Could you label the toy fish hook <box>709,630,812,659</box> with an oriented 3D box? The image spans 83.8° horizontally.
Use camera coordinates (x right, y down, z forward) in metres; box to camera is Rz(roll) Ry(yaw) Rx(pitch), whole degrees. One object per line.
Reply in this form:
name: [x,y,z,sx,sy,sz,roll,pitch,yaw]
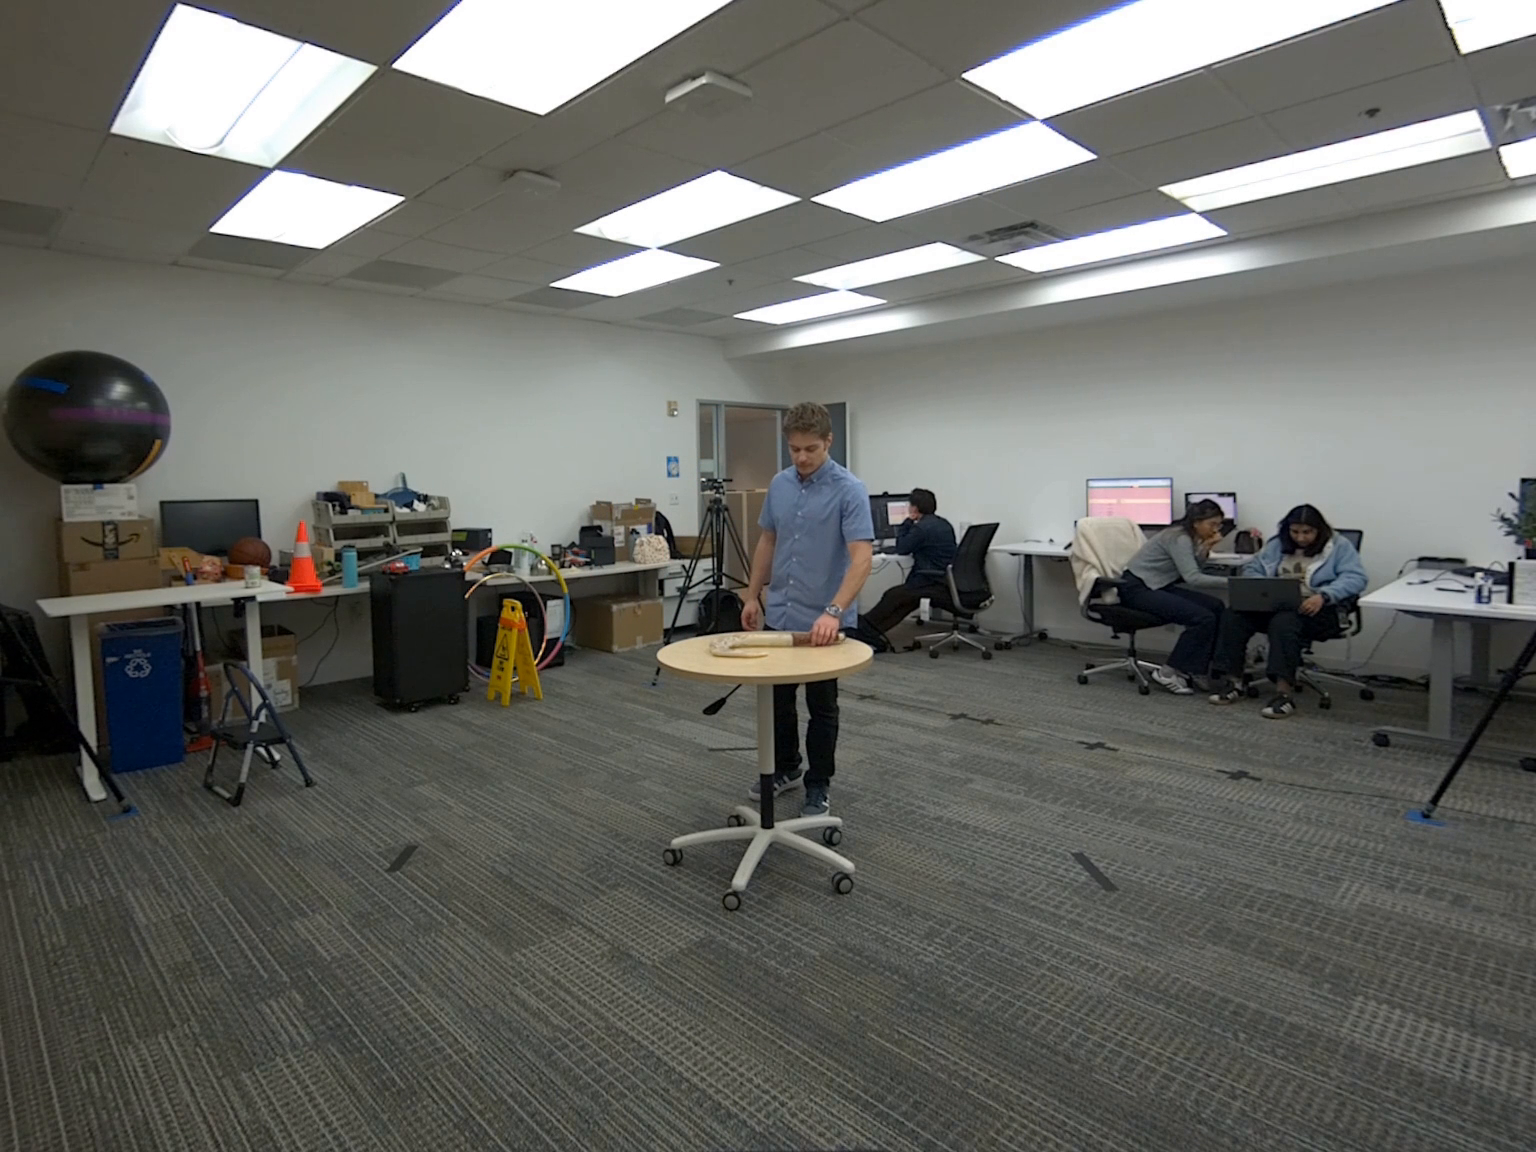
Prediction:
toy fish hook: [0.044,0.250,3.053,0.503,0.048,0.229,-4,15,-7]
